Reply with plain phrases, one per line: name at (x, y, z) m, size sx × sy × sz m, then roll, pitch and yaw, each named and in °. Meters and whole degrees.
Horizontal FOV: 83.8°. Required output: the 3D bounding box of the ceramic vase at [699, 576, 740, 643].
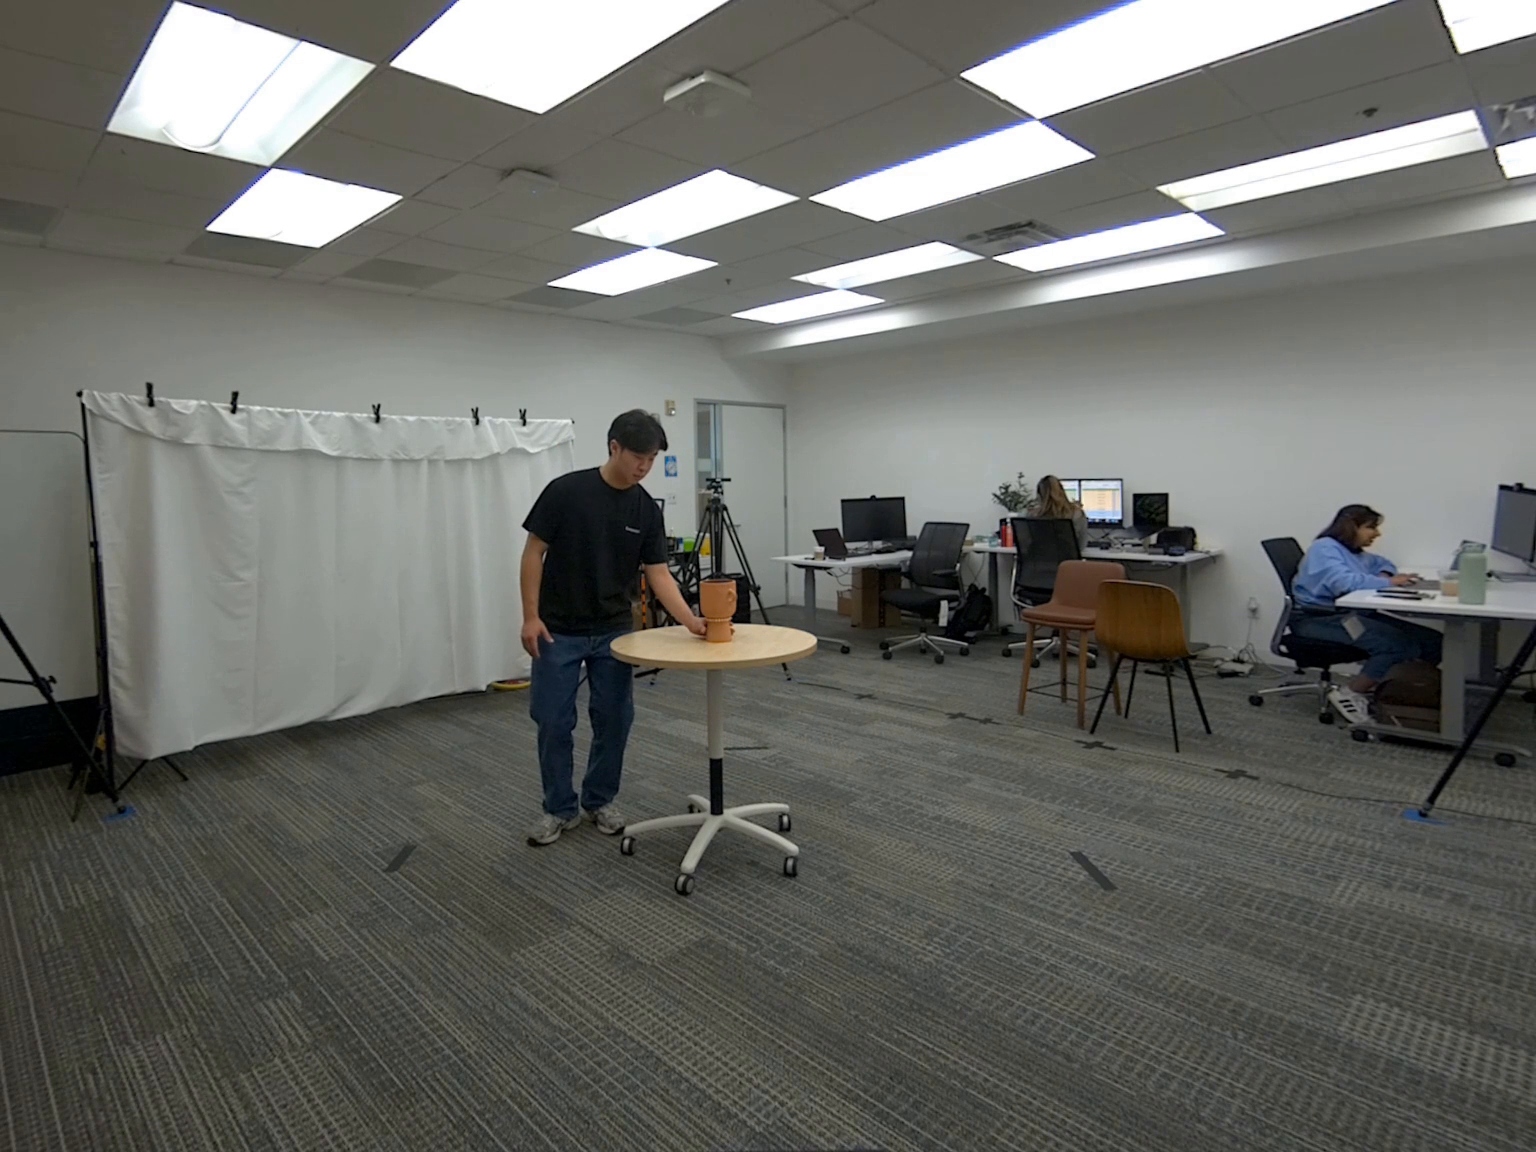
ceramic vase at (-0.182, 0.132, 3.169) m, size 0.134 × 0.219 × 0.160 m, roll 0°, pitch 4°, yaw -6°
